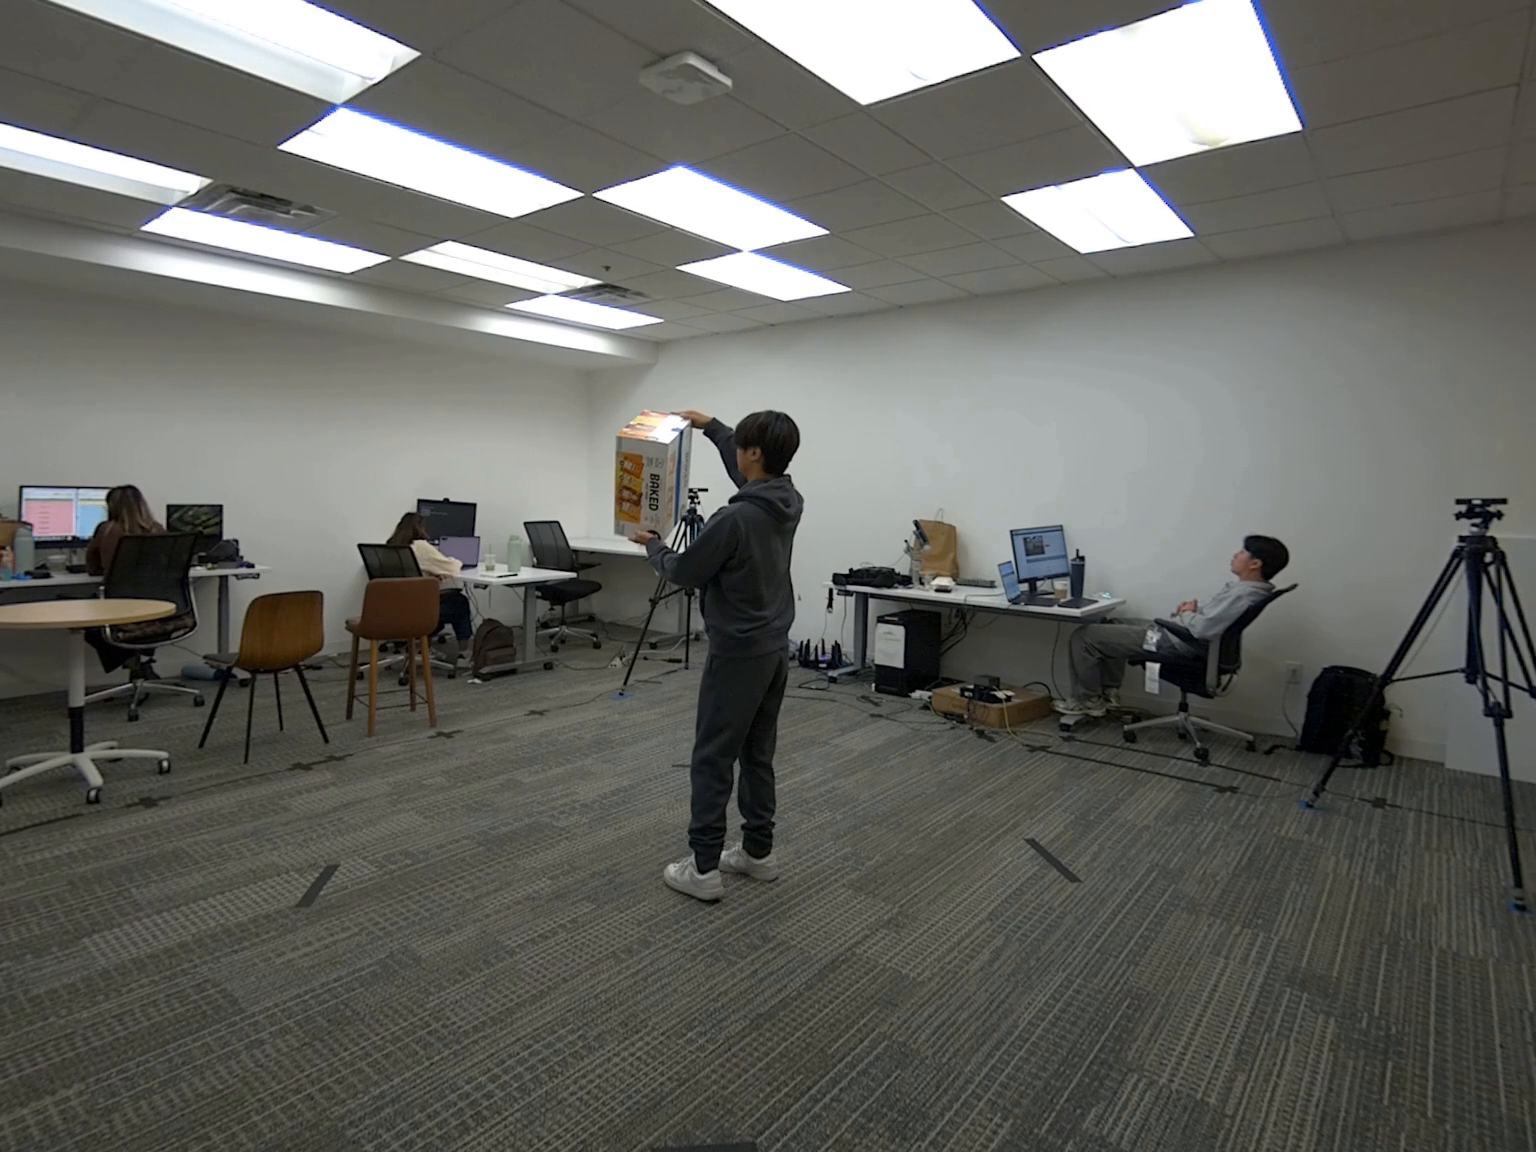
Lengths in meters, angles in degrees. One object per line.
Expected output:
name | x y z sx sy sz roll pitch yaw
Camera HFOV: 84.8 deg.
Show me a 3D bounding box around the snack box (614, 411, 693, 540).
snack box | -0.463 -0.396 3.308 0.208 0.397 0.343 11 26 8
